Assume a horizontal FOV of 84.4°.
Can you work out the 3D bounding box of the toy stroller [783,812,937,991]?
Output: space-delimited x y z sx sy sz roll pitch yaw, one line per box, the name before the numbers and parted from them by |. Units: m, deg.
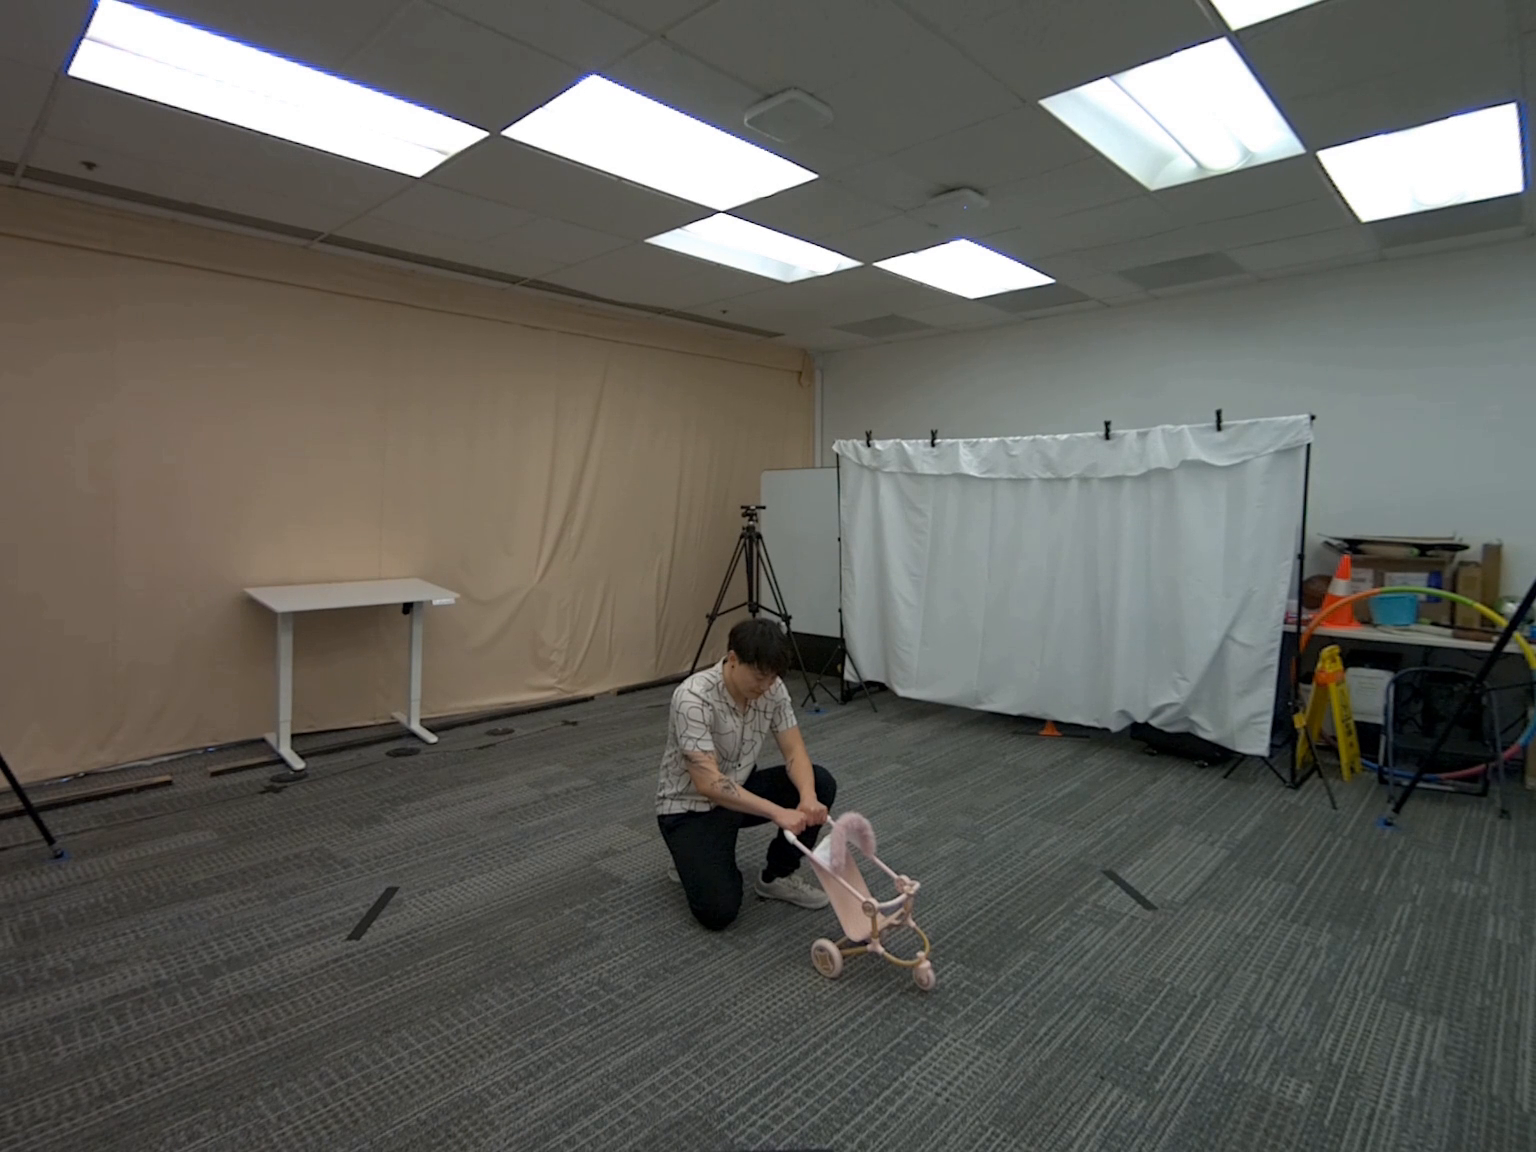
toy stroller | 0.292 0.958 2.535 0.273 0.540 0.348 -6 -14 -45
